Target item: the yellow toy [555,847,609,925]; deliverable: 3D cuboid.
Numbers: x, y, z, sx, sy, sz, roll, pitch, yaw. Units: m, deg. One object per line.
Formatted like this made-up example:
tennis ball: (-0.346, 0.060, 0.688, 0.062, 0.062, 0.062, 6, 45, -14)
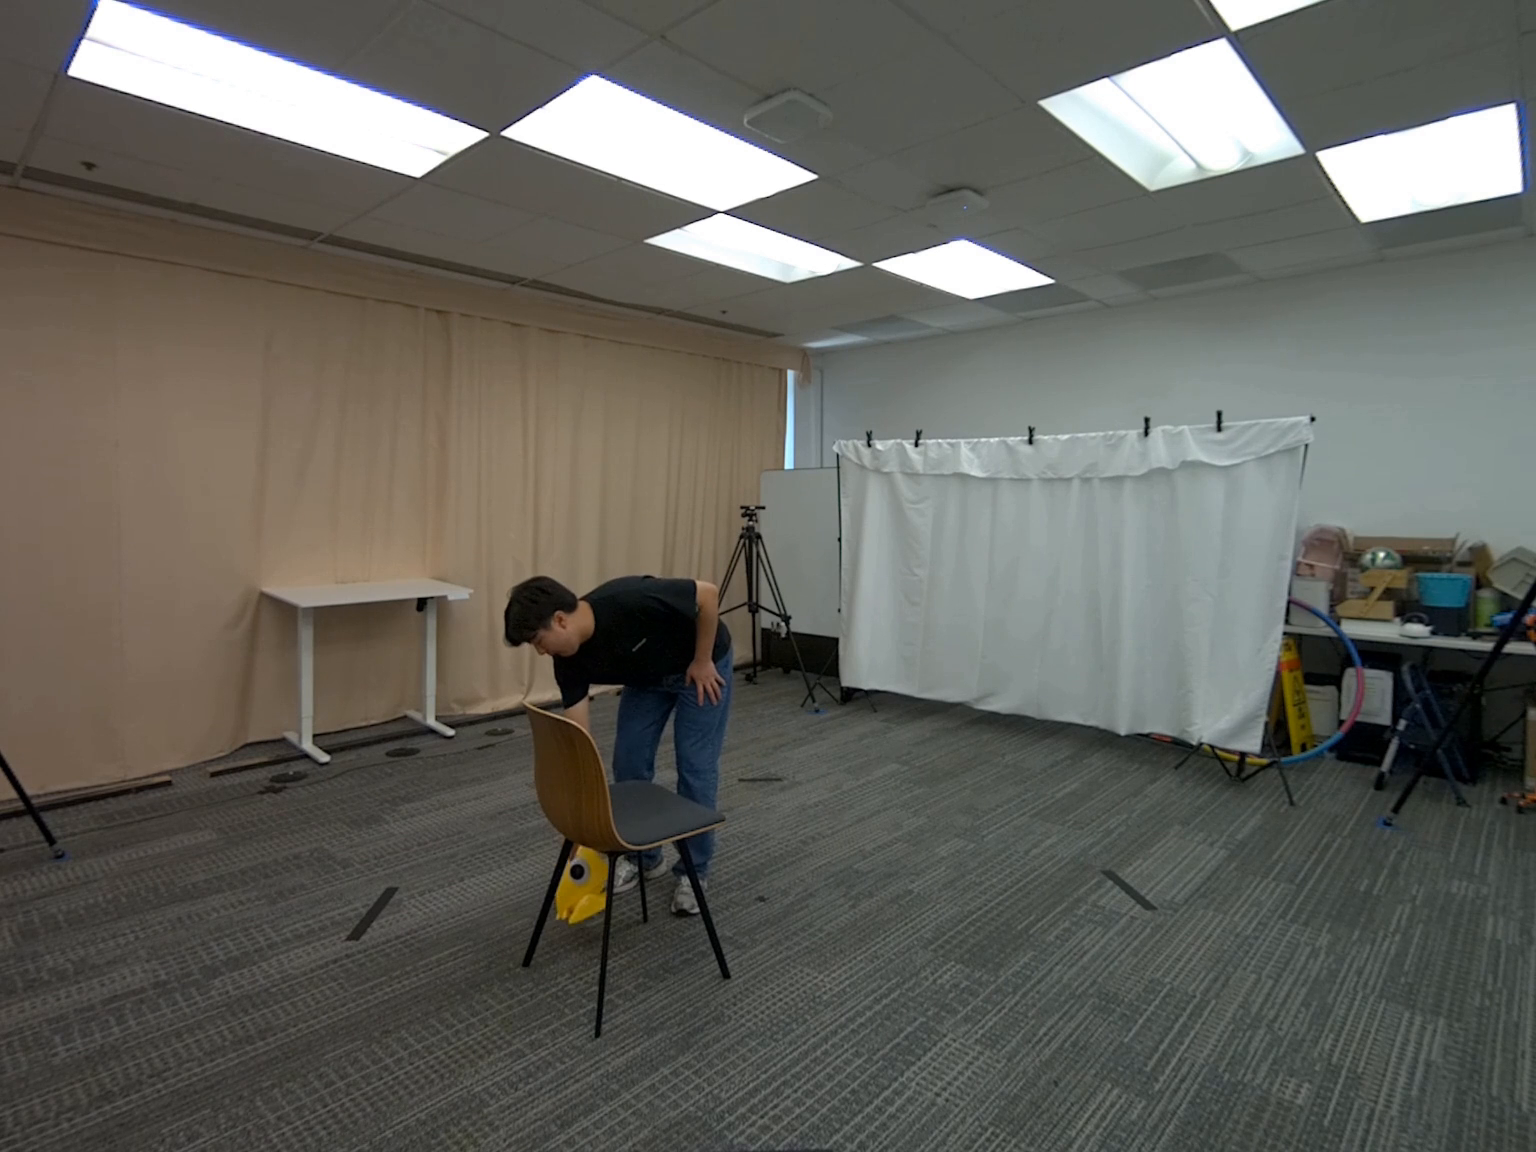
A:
yellow toy: (-0.627, 0.958, 2.708, 0.188, 0.231, 0.209, -19, -4, -35)
